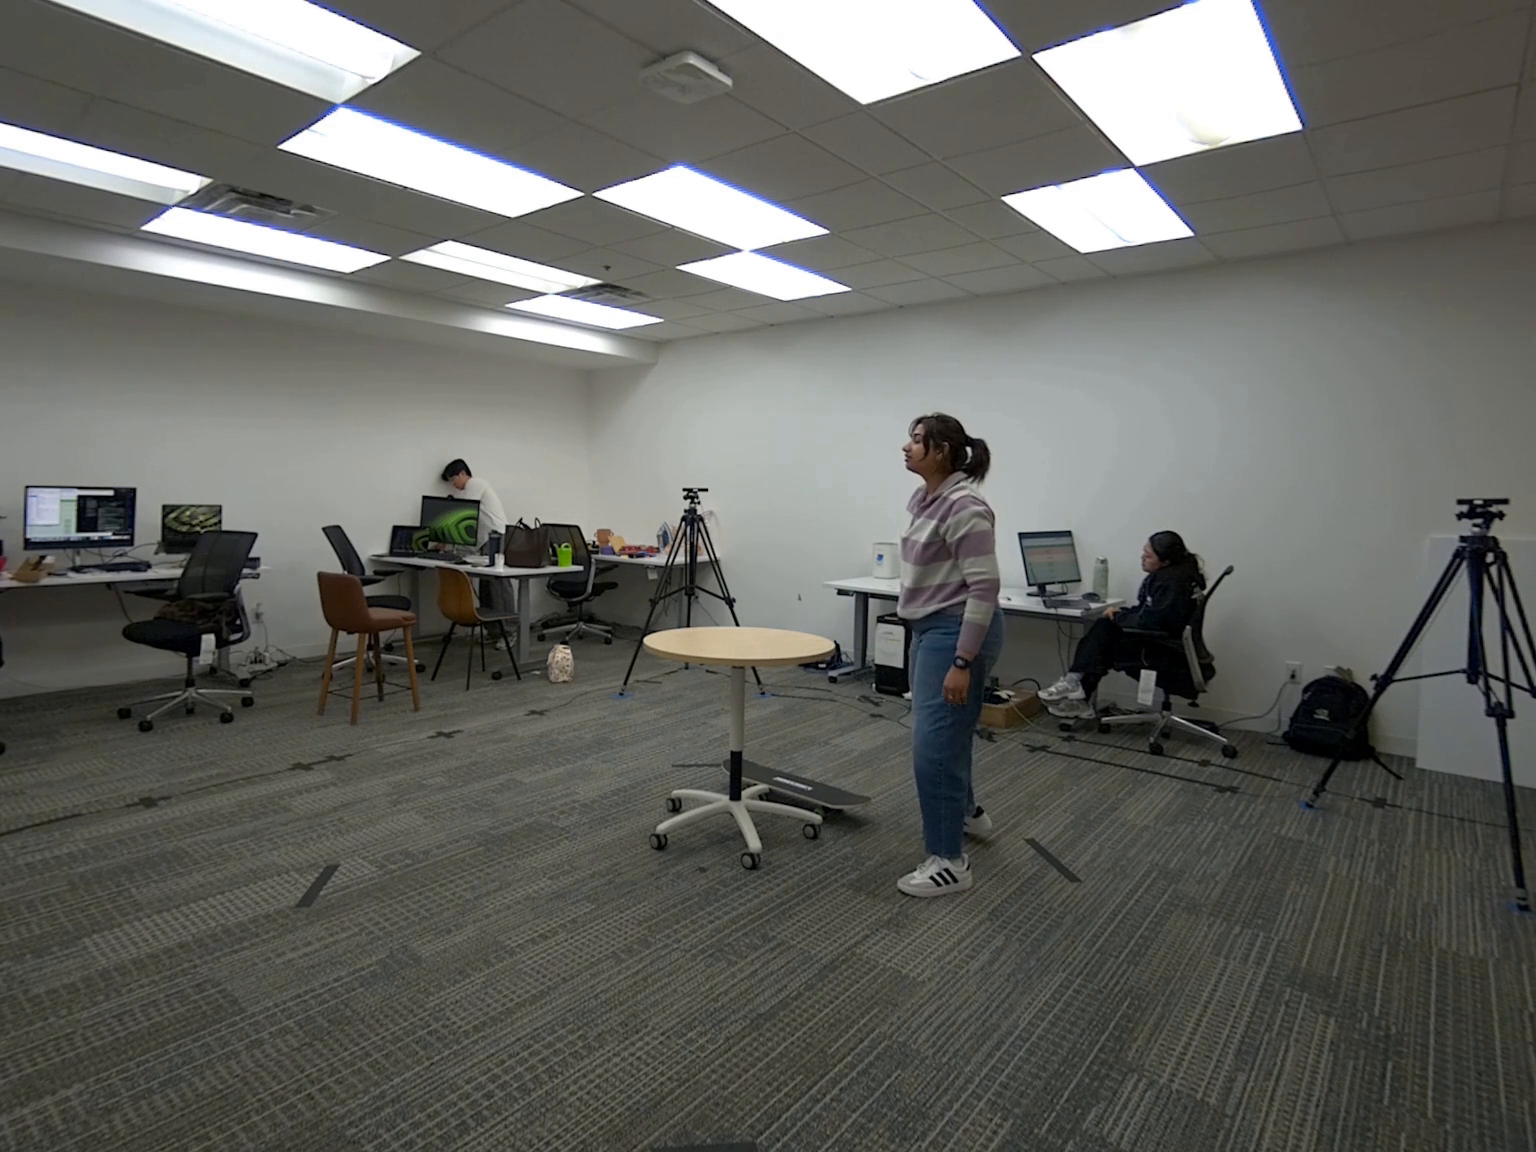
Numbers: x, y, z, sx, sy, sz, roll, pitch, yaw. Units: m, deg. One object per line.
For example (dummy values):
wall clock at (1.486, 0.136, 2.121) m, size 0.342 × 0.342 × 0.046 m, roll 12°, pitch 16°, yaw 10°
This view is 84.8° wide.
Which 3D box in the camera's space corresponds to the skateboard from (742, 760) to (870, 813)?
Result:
skateboard at (0.097, 0.951, 3.791) m, size 0.812 × 0.110 × 0.188 m, roll 6°, pitch 7°, yaw 40°
